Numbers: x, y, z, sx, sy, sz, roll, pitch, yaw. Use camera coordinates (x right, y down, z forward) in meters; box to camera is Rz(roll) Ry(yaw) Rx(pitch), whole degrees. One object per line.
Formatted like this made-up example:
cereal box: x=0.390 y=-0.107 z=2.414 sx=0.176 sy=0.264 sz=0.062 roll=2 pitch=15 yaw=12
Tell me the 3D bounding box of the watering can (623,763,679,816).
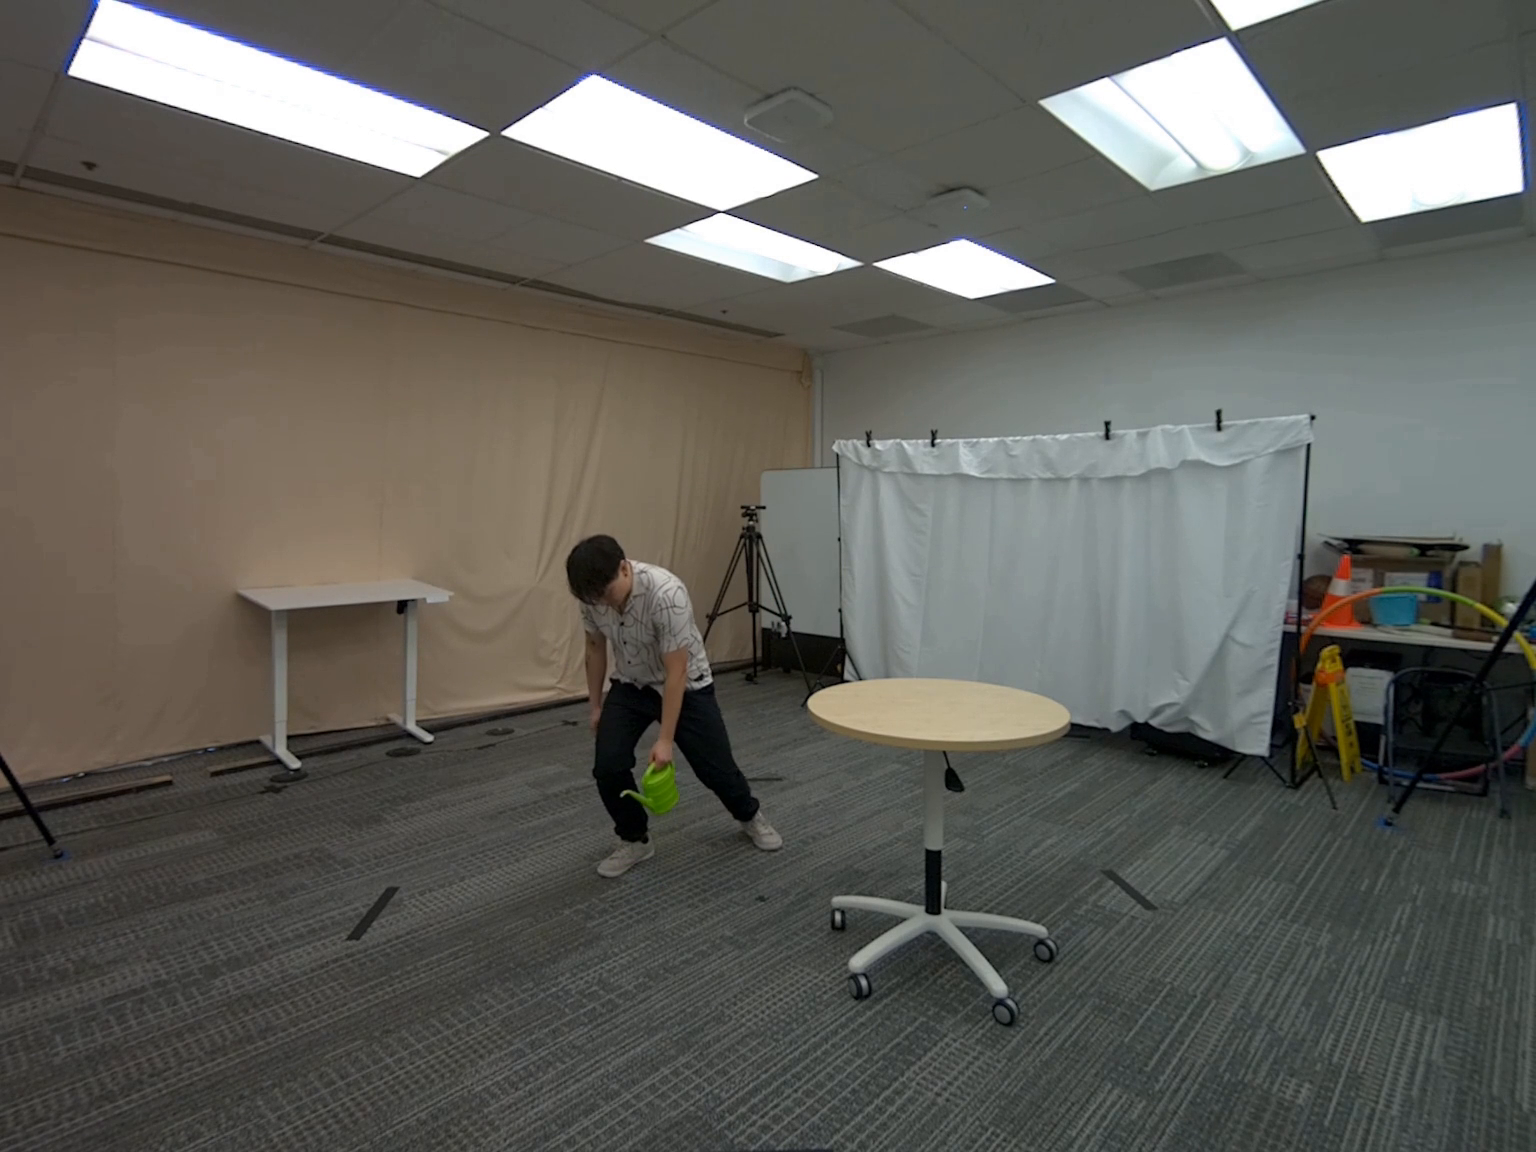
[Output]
watering can: x=-0.425 y=0.770 z=3.004 sx=0.101 sy=0.174 sz=0.273 roll=4 pitch=26 yaw=44
